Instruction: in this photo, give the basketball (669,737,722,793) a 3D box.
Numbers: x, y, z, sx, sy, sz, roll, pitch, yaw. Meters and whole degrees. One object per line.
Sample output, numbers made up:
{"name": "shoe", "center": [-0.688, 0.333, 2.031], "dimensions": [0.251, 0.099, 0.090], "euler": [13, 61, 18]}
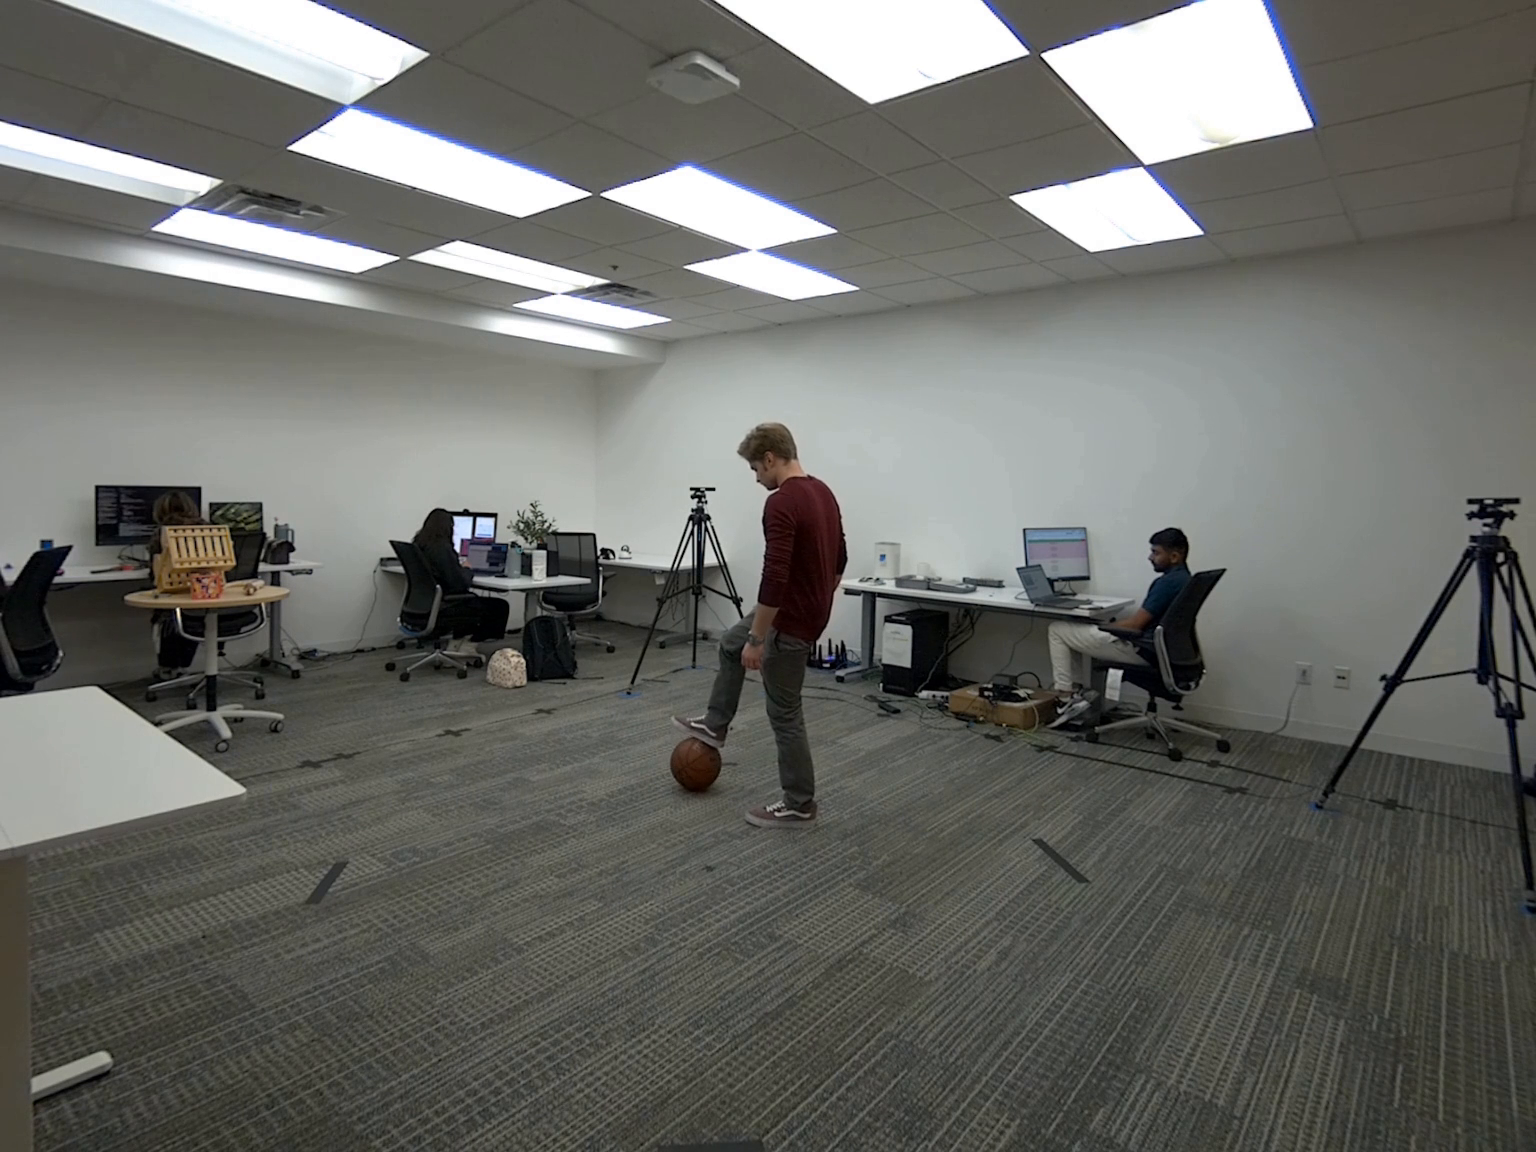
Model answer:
{"name": "basketball", "center": [-0.339, 0.865, 3.942], "dimensions": [0.235, 0.235, 0.237], "euler": [1, 4, -2]}
